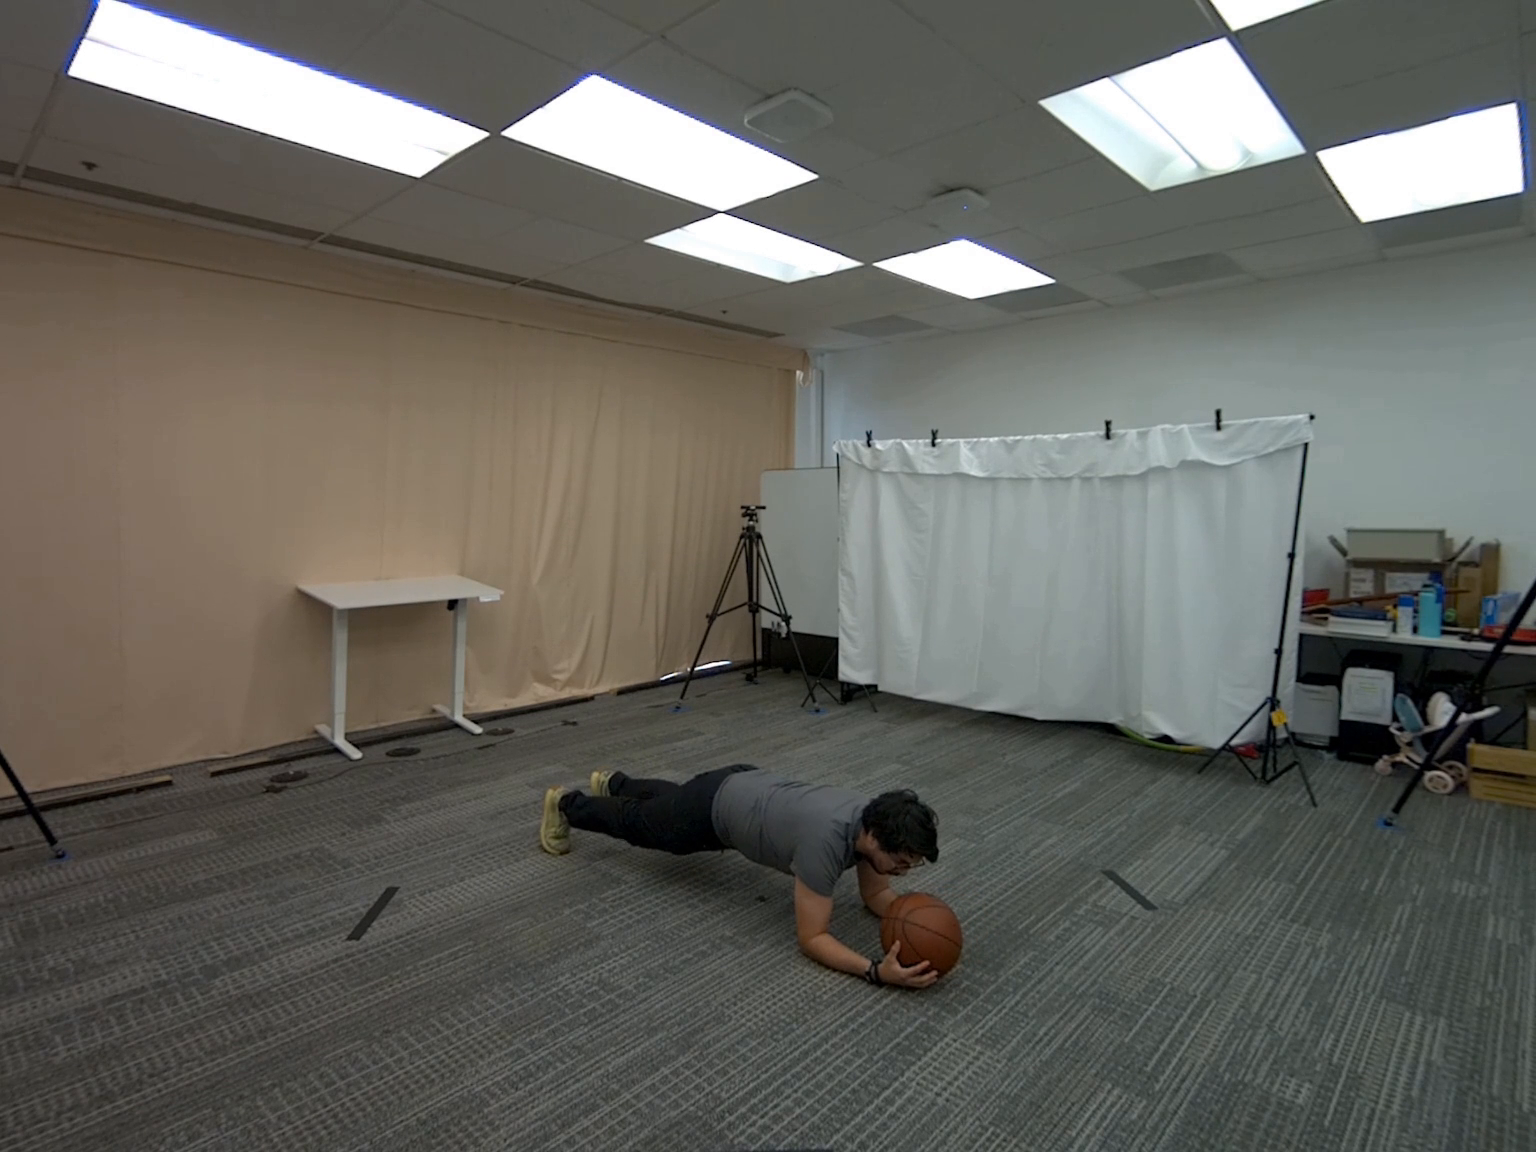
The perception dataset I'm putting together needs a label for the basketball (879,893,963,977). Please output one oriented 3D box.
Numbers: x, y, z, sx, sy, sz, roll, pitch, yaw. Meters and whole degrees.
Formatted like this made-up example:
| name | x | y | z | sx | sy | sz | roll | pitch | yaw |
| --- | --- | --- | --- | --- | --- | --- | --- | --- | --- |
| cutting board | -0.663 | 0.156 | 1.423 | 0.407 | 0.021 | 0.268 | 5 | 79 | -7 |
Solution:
| name | x | y | z | sx | sy | sz | roll | pitch | yaw |
| --- | --- | --- | --- | --- | --- | --- | --- | --- | --- |
| basketball | 0.445 | 1.056 | 2.500 | 0.236 | 0.235 | 0.237 | 0 | 4 | -2 |
